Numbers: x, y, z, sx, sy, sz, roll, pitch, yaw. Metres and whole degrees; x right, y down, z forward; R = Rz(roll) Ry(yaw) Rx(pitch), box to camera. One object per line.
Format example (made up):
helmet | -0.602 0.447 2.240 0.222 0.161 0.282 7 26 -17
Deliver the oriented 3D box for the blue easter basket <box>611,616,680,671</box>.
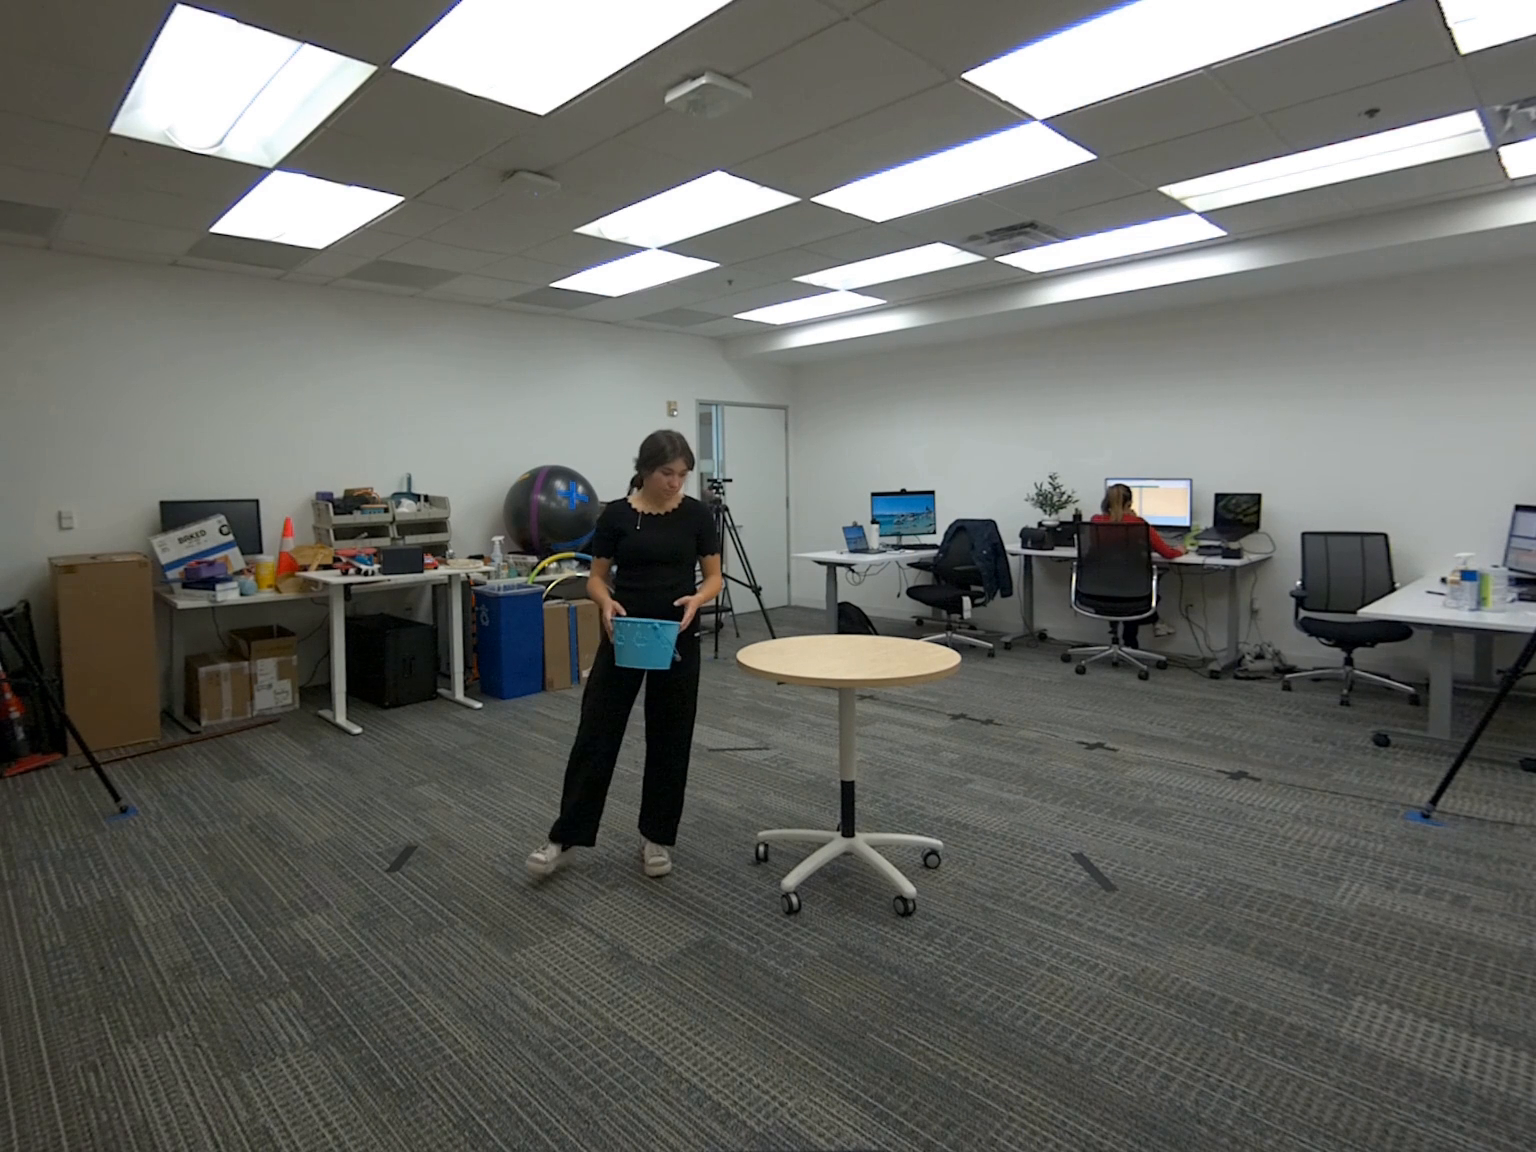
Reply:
blue easter basket | -0.393 0.226 2.833 0.243 0.156 0.243 4 -2 -2
